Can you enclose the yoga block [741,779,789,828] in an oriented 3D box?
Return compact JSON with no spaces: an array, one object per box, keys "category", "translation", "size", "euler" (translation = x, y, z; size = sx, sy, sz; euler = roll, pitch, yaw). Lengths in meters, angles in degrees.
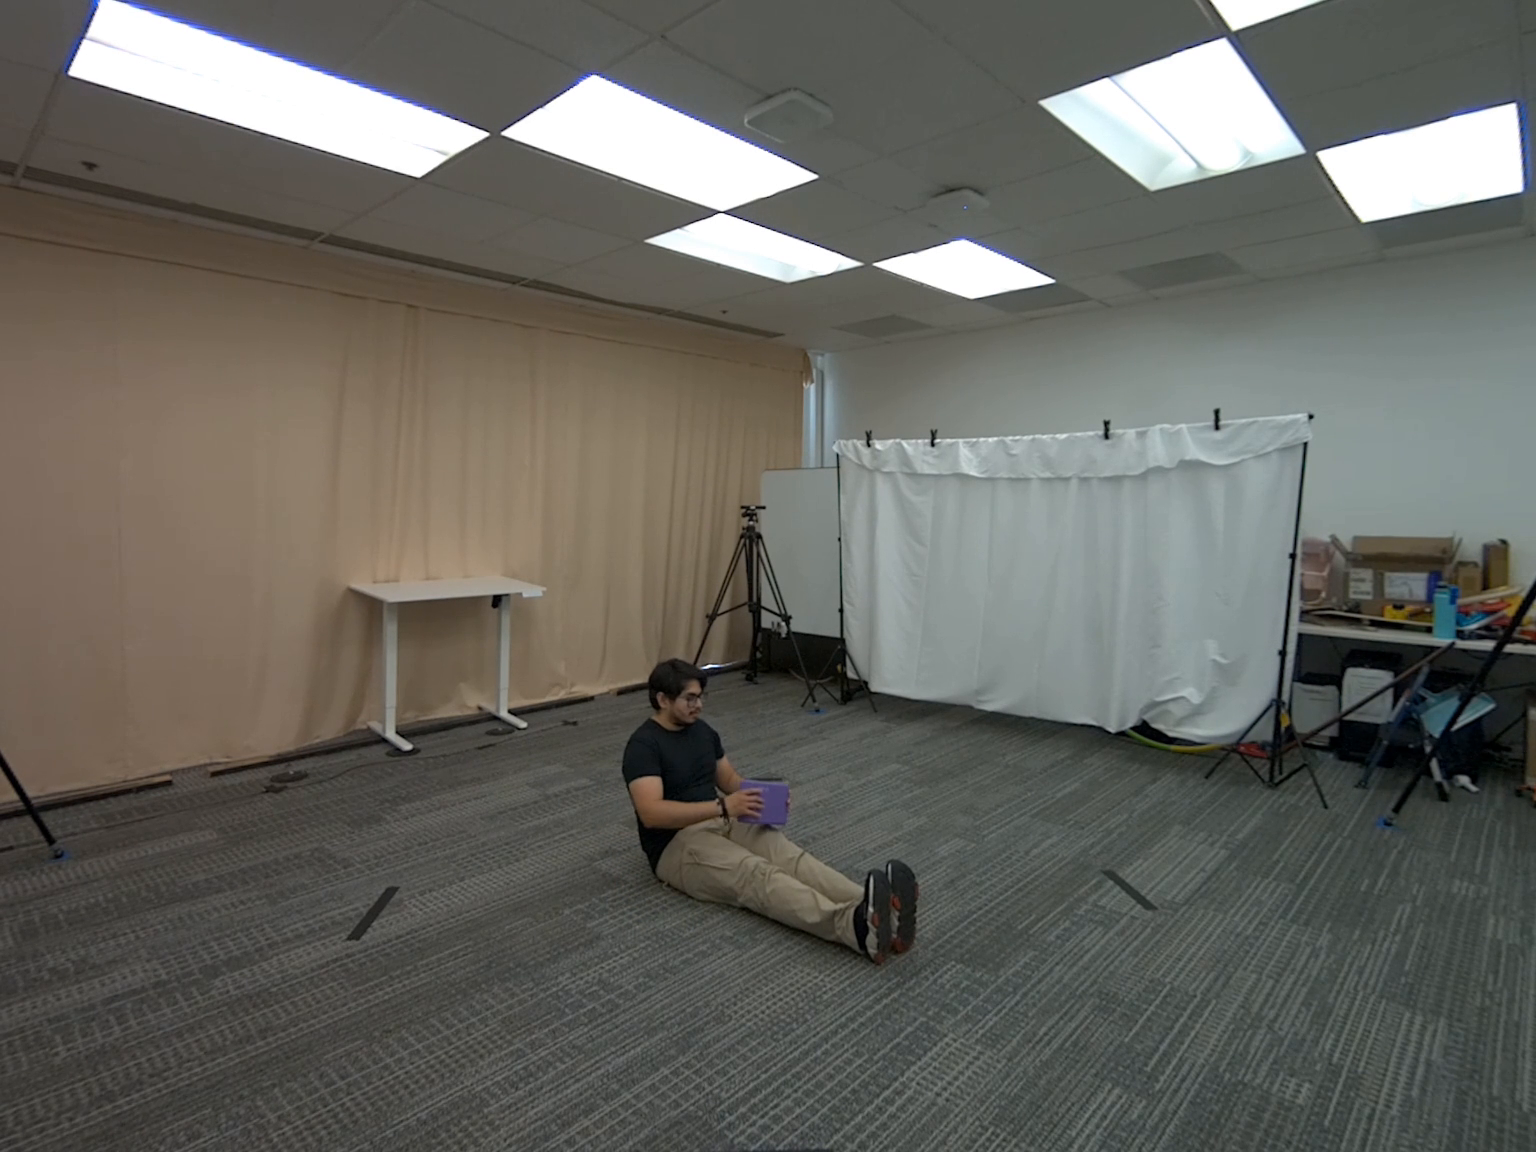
[{"category":"yoga block","translation":[-0.024,0.828,3.065],"size":[0.079,0.150,0.221],"euler":[-7,-19,44]}]
